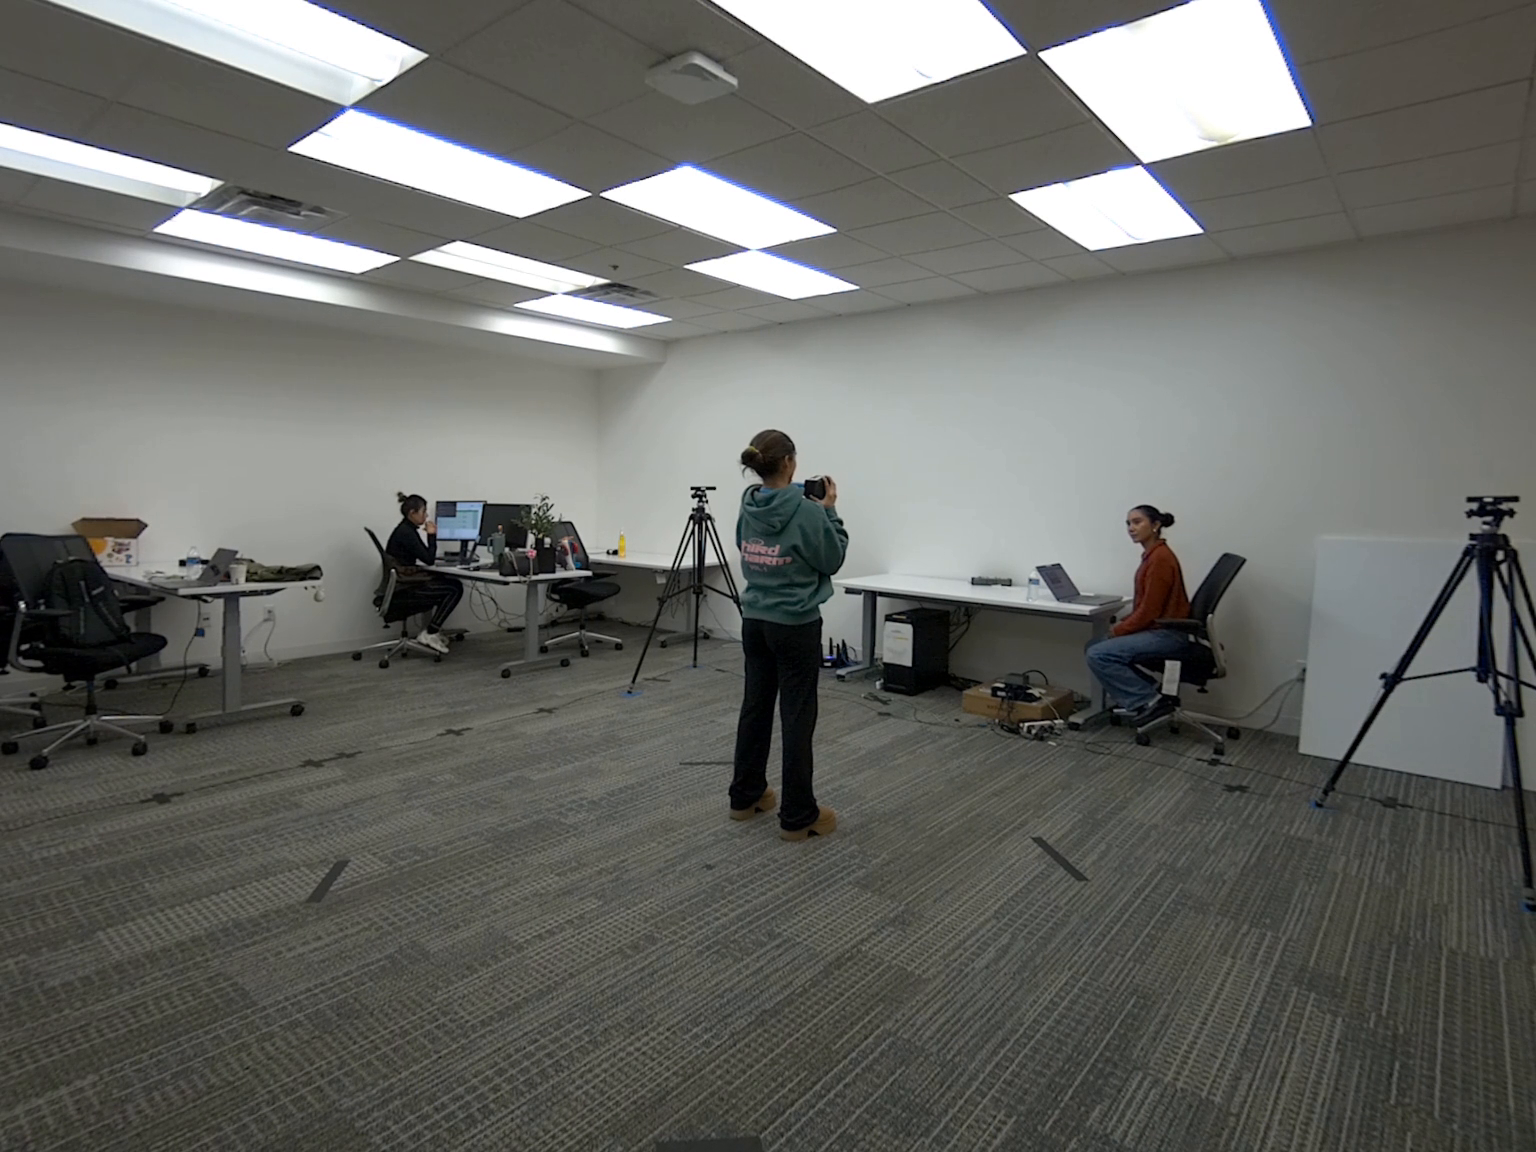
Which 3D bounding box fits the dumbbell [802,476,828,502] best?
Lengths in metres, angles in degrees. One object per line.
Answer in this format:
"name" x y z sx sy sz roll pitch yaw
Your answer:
"dumbbell" 0.113 -0.368 3.557 0.304 0.123 0.104 9 -7 43
